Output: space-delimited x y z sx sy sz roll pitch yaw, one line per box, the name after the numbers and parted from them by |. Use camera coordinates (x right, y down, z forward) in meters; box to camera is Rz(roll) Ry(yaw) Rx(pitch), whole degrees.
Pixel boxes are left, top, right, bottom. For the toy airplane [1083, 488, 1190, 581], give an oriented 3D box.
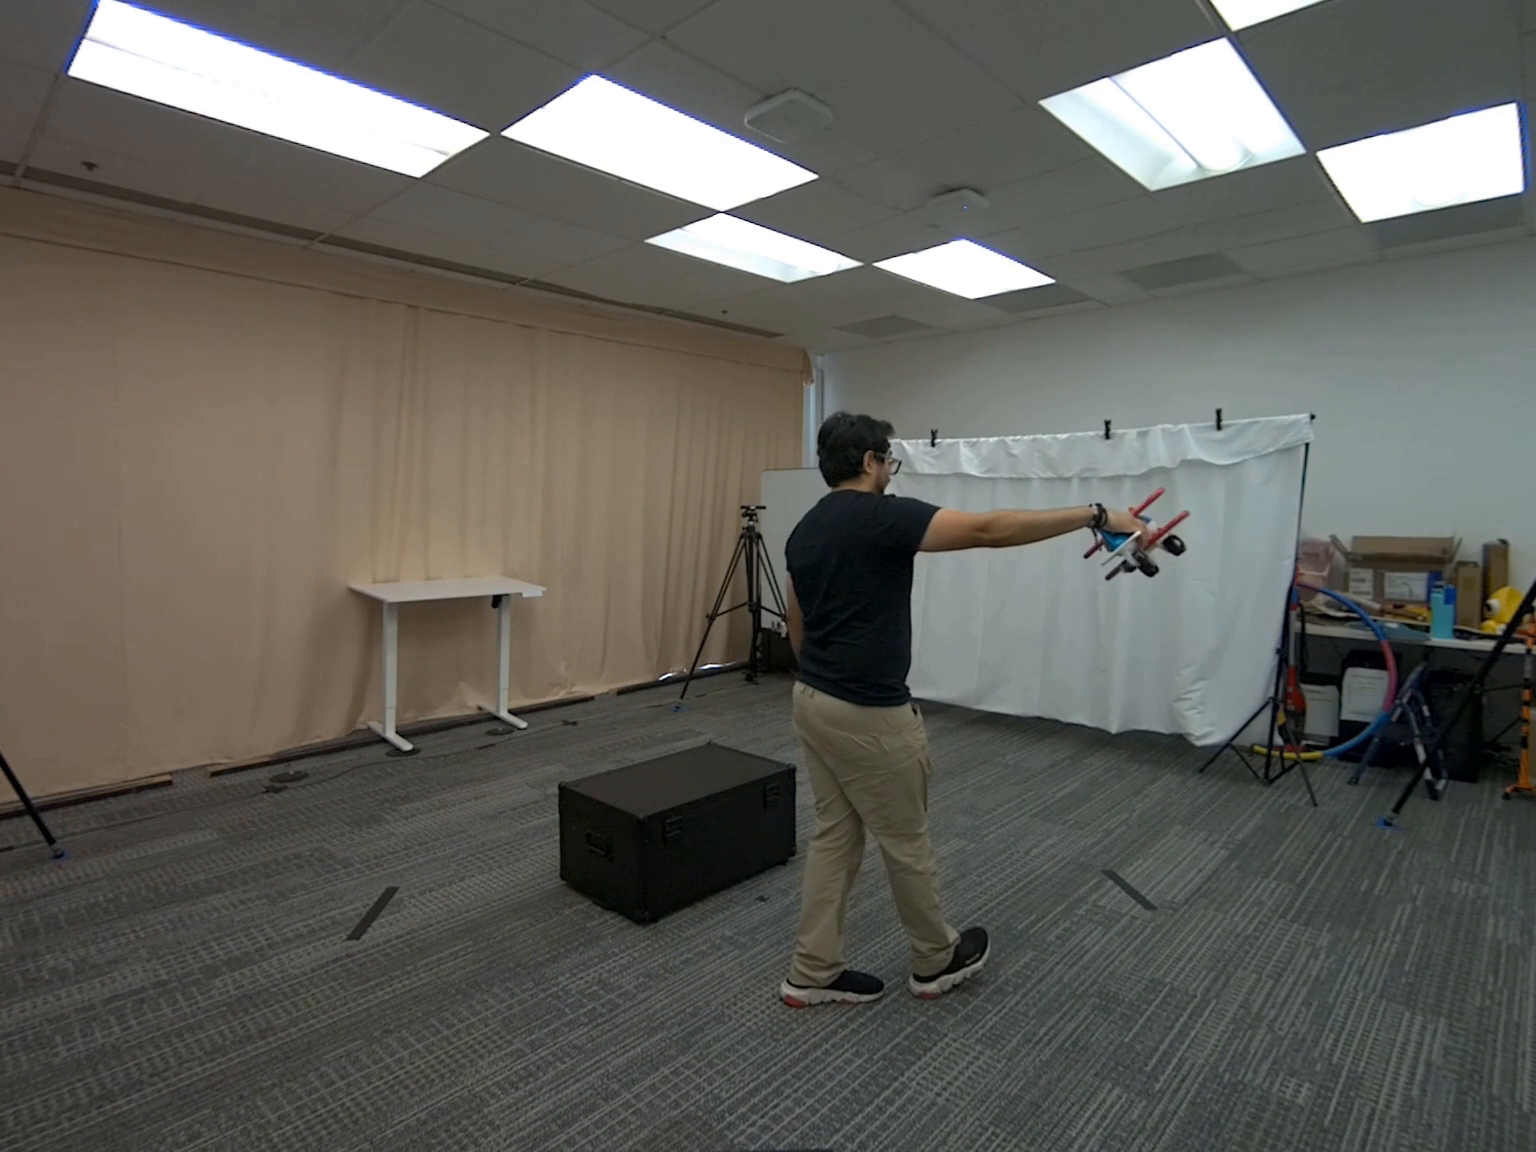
0.940 -0.096 2.079 0.252 0.161 0.251 -36 -28 11 | toy airplane
